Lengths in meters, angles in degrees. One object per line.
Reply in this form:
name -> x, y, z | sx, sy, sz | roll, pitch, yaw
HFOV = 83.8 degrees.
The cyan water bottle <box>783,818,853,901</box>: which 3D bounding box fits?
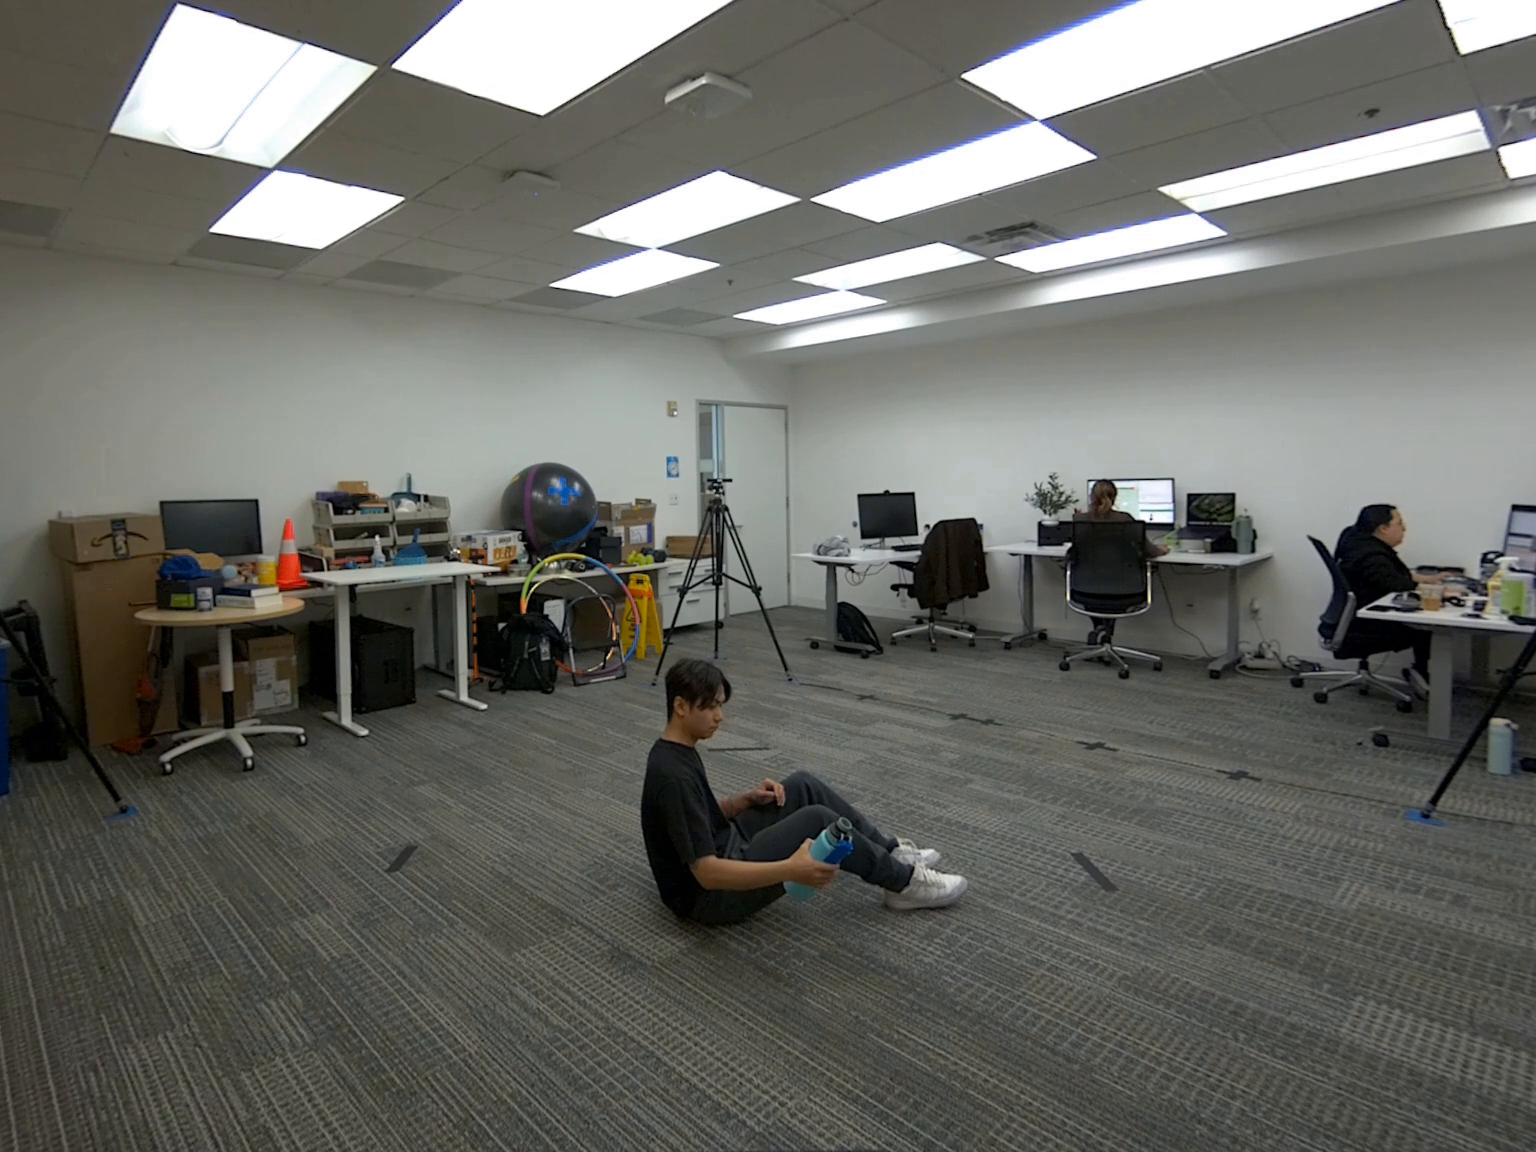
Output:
cyan water bottle -> 0.160, 0.815, 2.453 | 0.091, 0.281, 0.094 | 25, 27, -15
